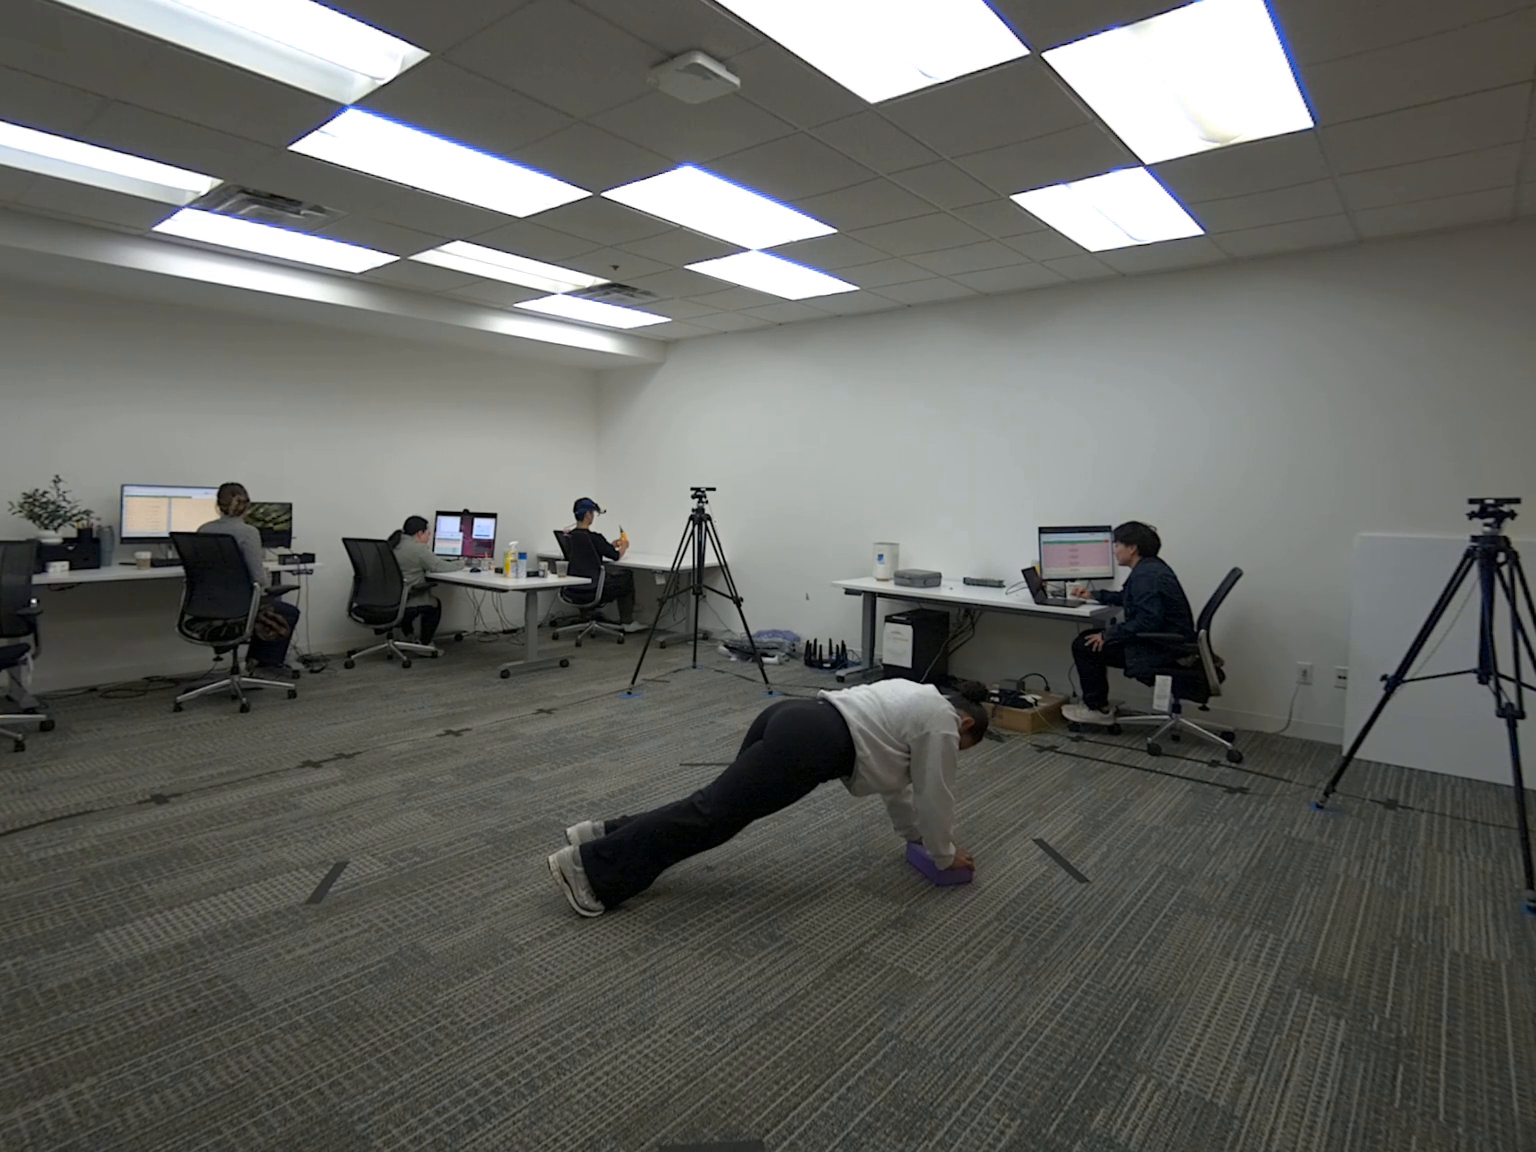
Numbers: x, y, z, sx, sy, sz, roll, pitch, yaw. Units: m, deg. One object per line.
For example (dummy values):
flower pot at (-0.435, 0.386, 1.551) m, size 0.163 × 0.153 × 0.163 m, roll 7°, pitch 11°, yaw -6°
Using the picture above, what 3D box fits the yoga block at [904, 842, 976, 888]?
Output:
yoga block at (0.625, 1.057, 3.137) m, size 0.146 × 0.076 × 0.235 m, roll -1°, pitch 6°, yaw -20°
